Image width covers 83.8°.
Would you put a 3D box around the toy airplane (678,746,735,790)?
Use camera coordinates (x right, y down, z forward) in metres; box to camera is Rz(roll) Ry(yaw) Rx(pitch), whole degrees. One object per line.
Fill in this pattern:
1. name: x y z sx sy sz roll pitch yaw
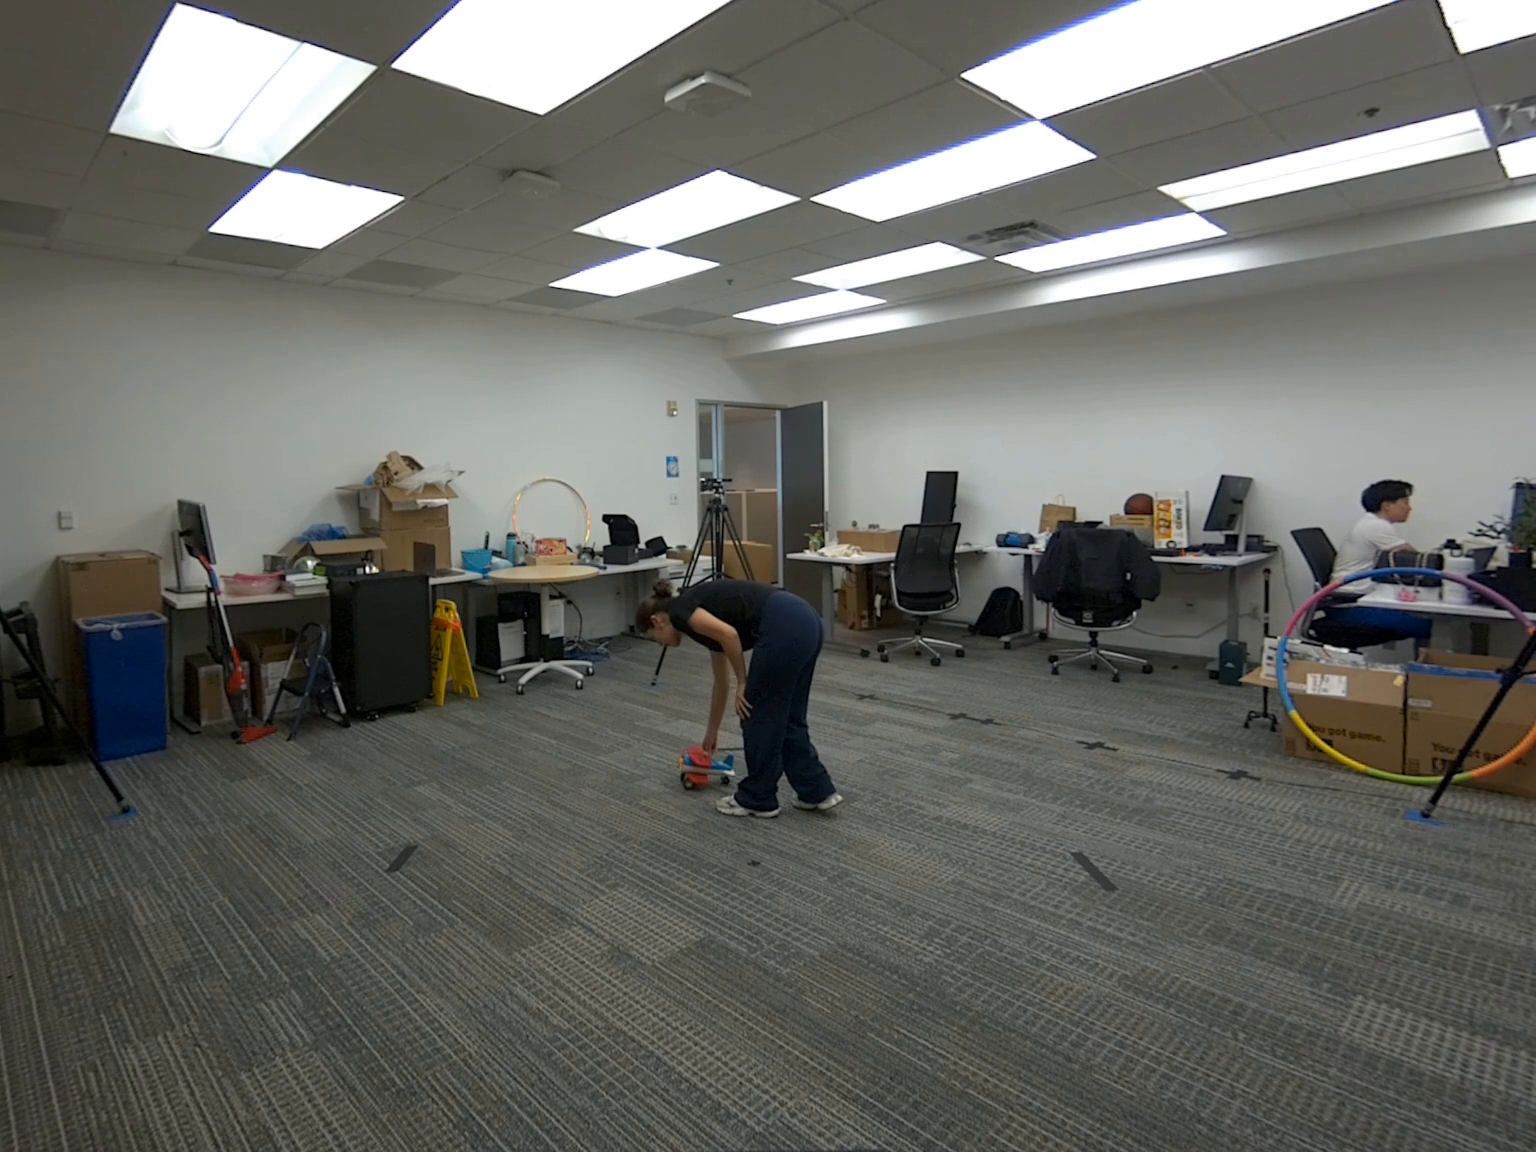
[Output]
1. toy airplane: -0.298 0.883 3.949 0.252 0.156 0.259 -6 7 -40
